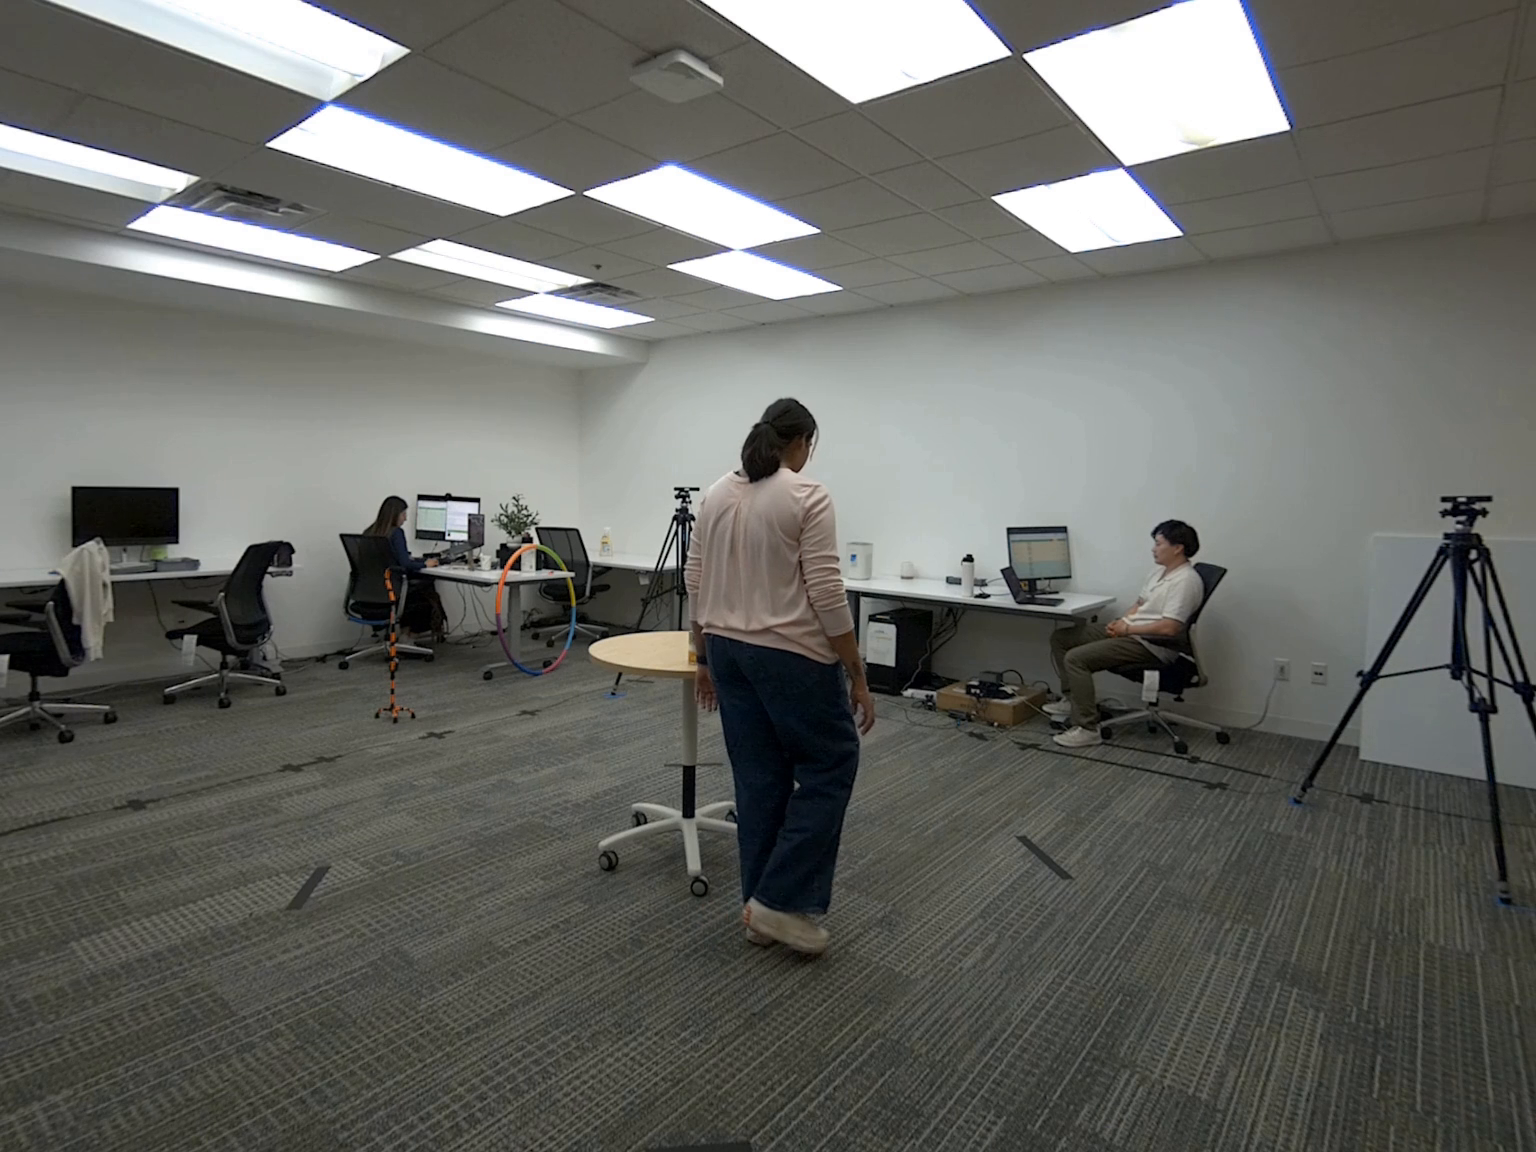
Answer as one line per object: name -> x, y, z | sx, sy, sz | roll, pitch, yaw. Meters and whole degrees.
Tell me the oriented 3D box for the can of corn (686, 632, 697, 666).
can of corn -> -0.248, 0.251, 2.934 | 0.074, 0.110, 0.075 | 3, 7, -2
